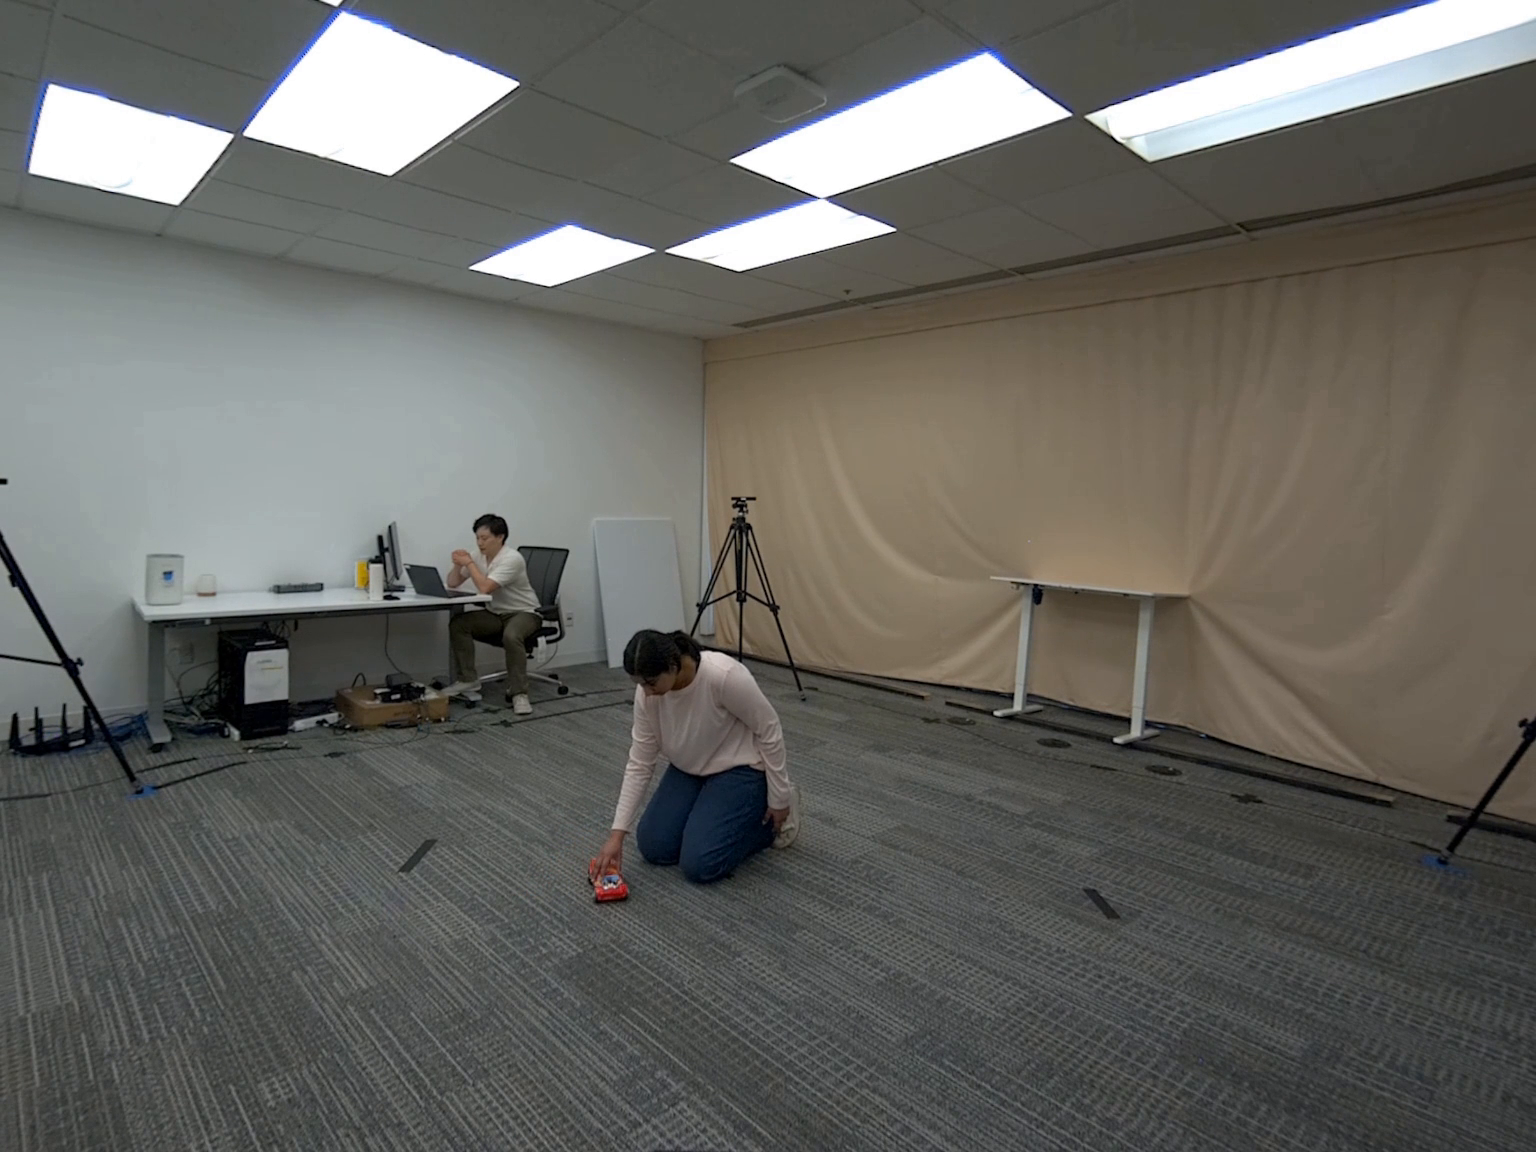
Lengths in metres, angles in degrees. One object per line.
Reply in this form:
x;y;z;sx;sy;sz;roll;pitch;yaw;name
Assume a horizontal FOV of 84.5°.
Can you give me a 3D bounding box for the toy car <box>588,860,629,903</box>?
-0.581;1.079;2.980;0.128;0.082;0.260;0;15;-17;toy car
